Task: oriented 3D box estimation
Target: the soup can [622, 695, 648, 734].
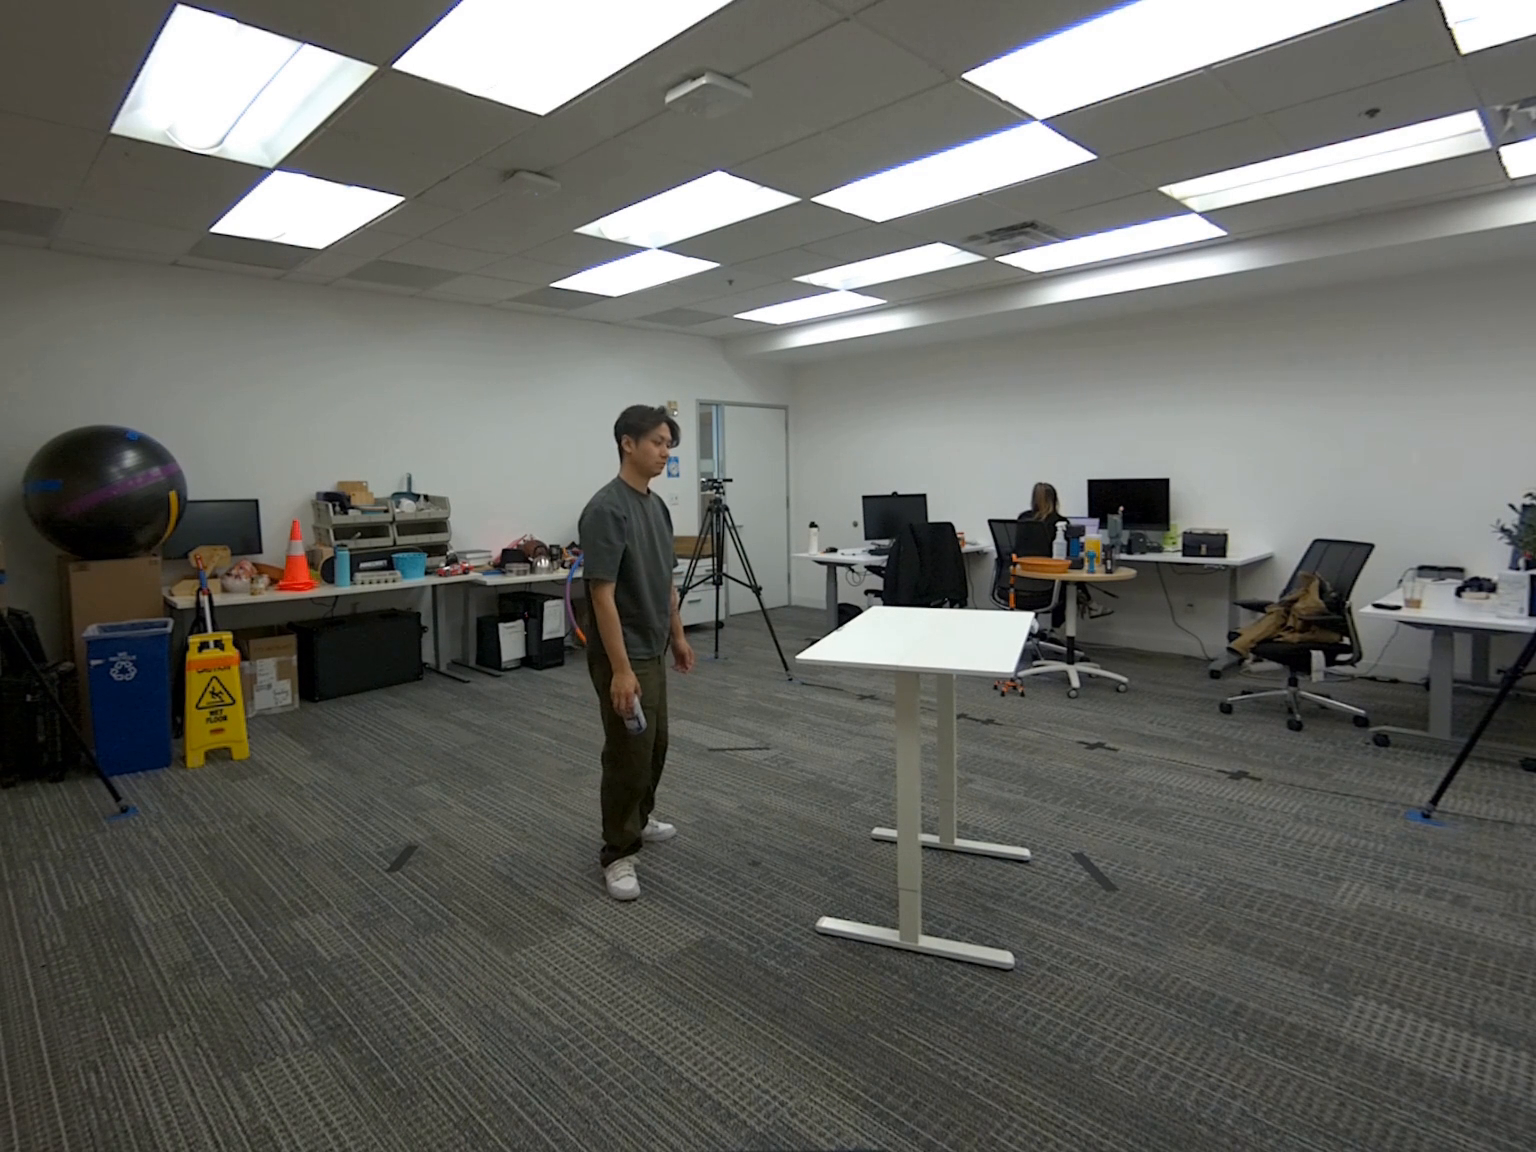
[{"bbox_3d":[-0.442,0.452,2.787,0.067,0.119,0.068,-12,22,3],"label":"soup can"}]
